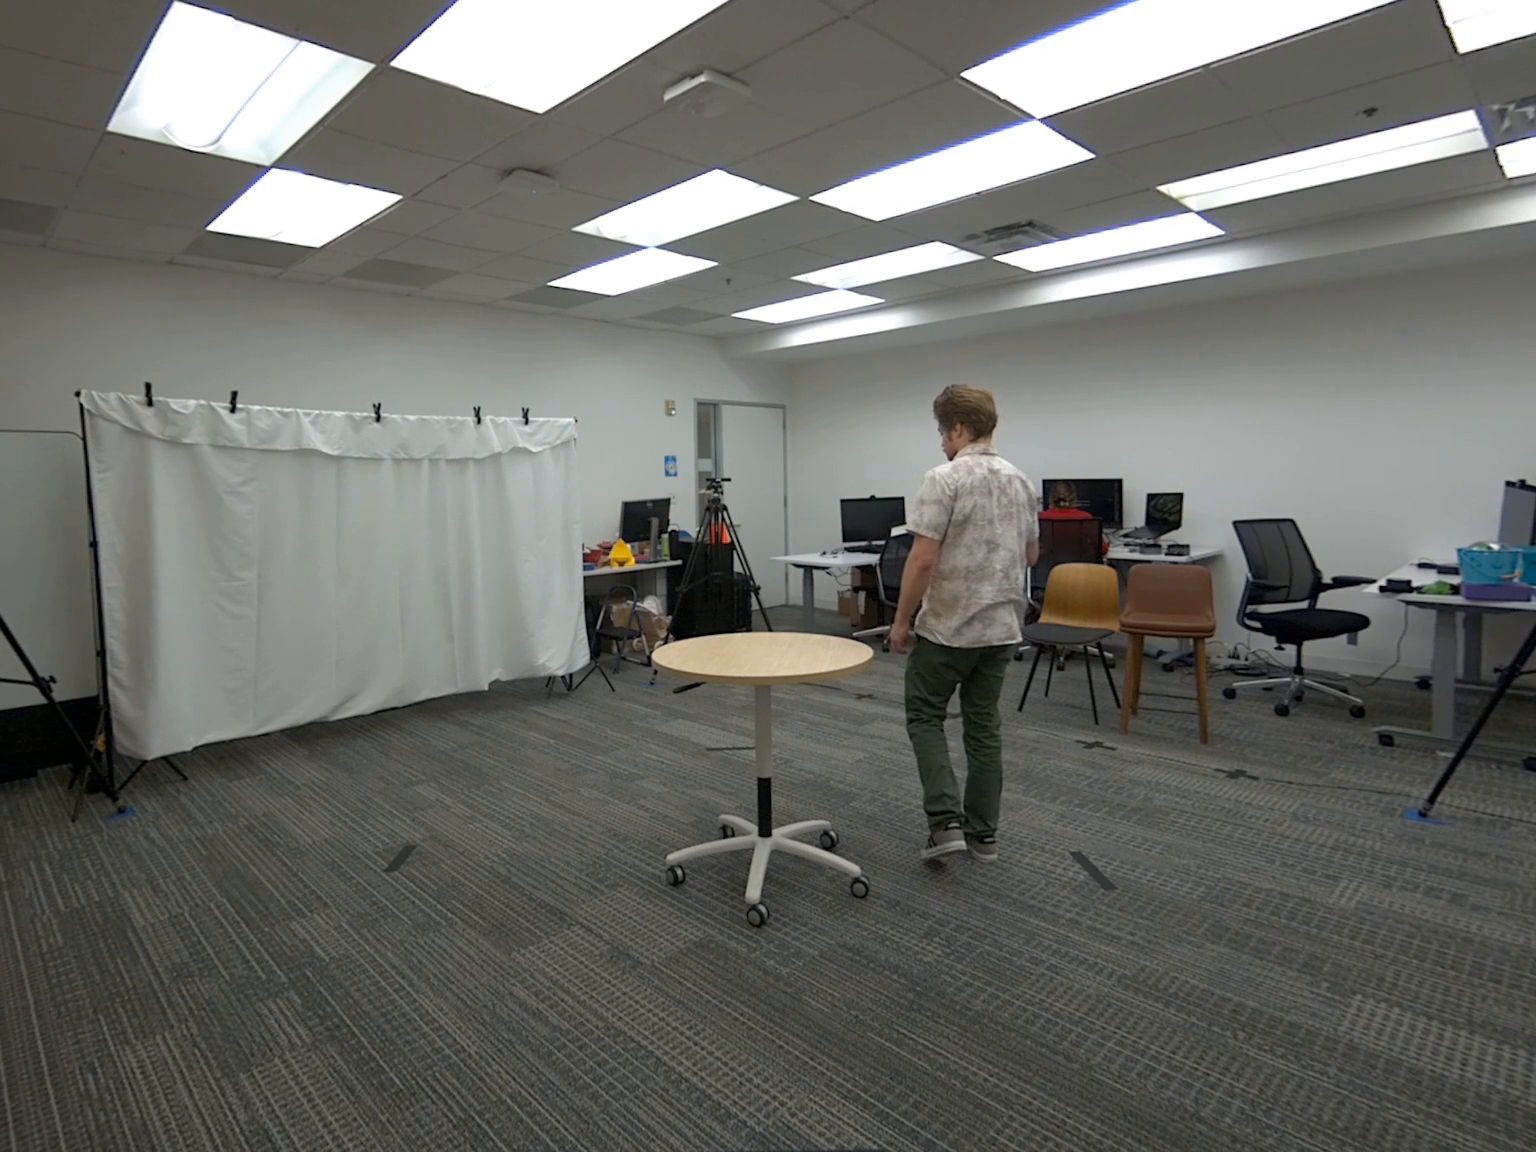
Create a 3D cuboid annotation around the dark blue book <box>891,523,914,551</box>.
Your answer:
[{"bbox_3d":[0.623,-0.145,3.403,0.167,0.046,0.236,-13,-30,39],"label":"dark blue book"}]
